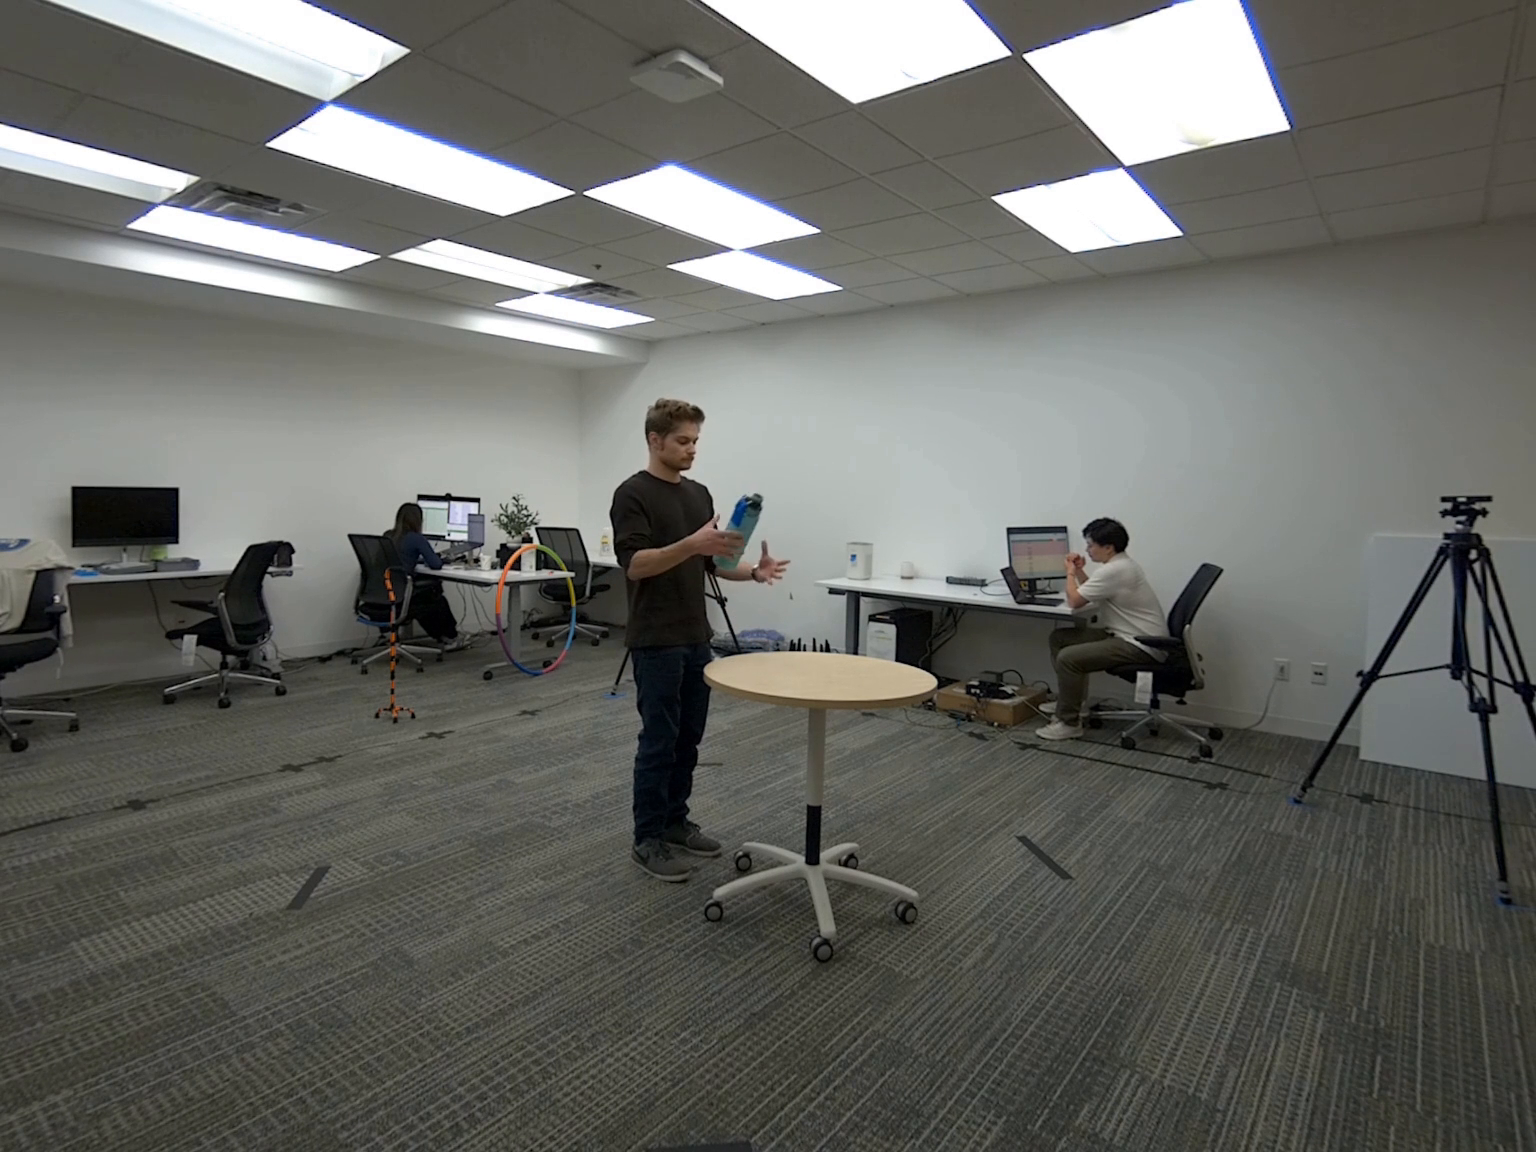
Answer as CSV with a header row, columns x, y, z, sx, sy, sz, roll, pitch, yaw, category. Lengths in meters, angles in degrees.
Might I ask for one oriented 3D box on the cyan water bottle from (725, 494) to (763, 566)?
x,y,z,sx,sy,sz,roll,pitch,yaw,category
-0.115,-0.119,2.877,0.091,0.280,0.095,20,29,-14,cyan water bottle
